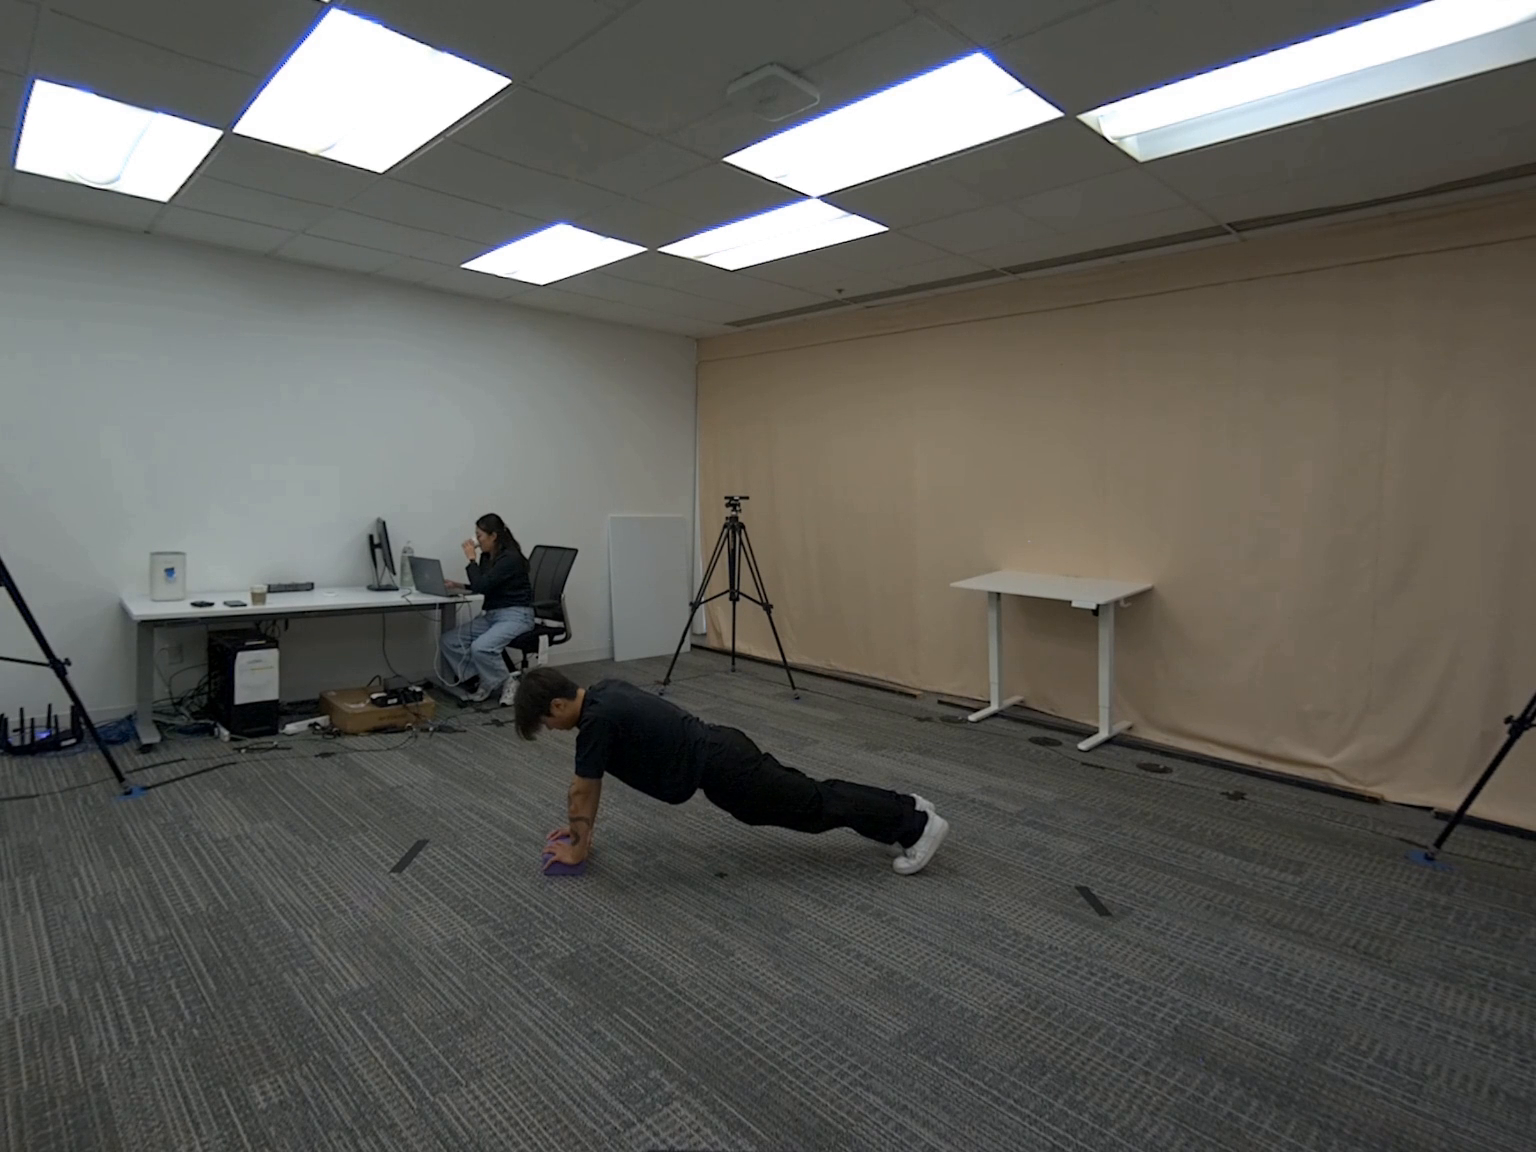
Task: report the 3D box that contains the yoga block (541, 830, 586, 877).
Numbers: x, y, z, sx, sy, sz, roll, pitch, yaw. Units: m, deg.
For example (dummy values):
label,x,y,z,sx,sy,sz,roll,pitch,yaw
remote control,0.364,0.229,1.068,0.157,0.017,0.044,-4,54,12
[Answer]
label,x,y,z,sx,sy,sz,roll,pitch,yaw
yoga block,-0.762,1.041,3.180,0.148,0.076,0.231,1,7,-7
